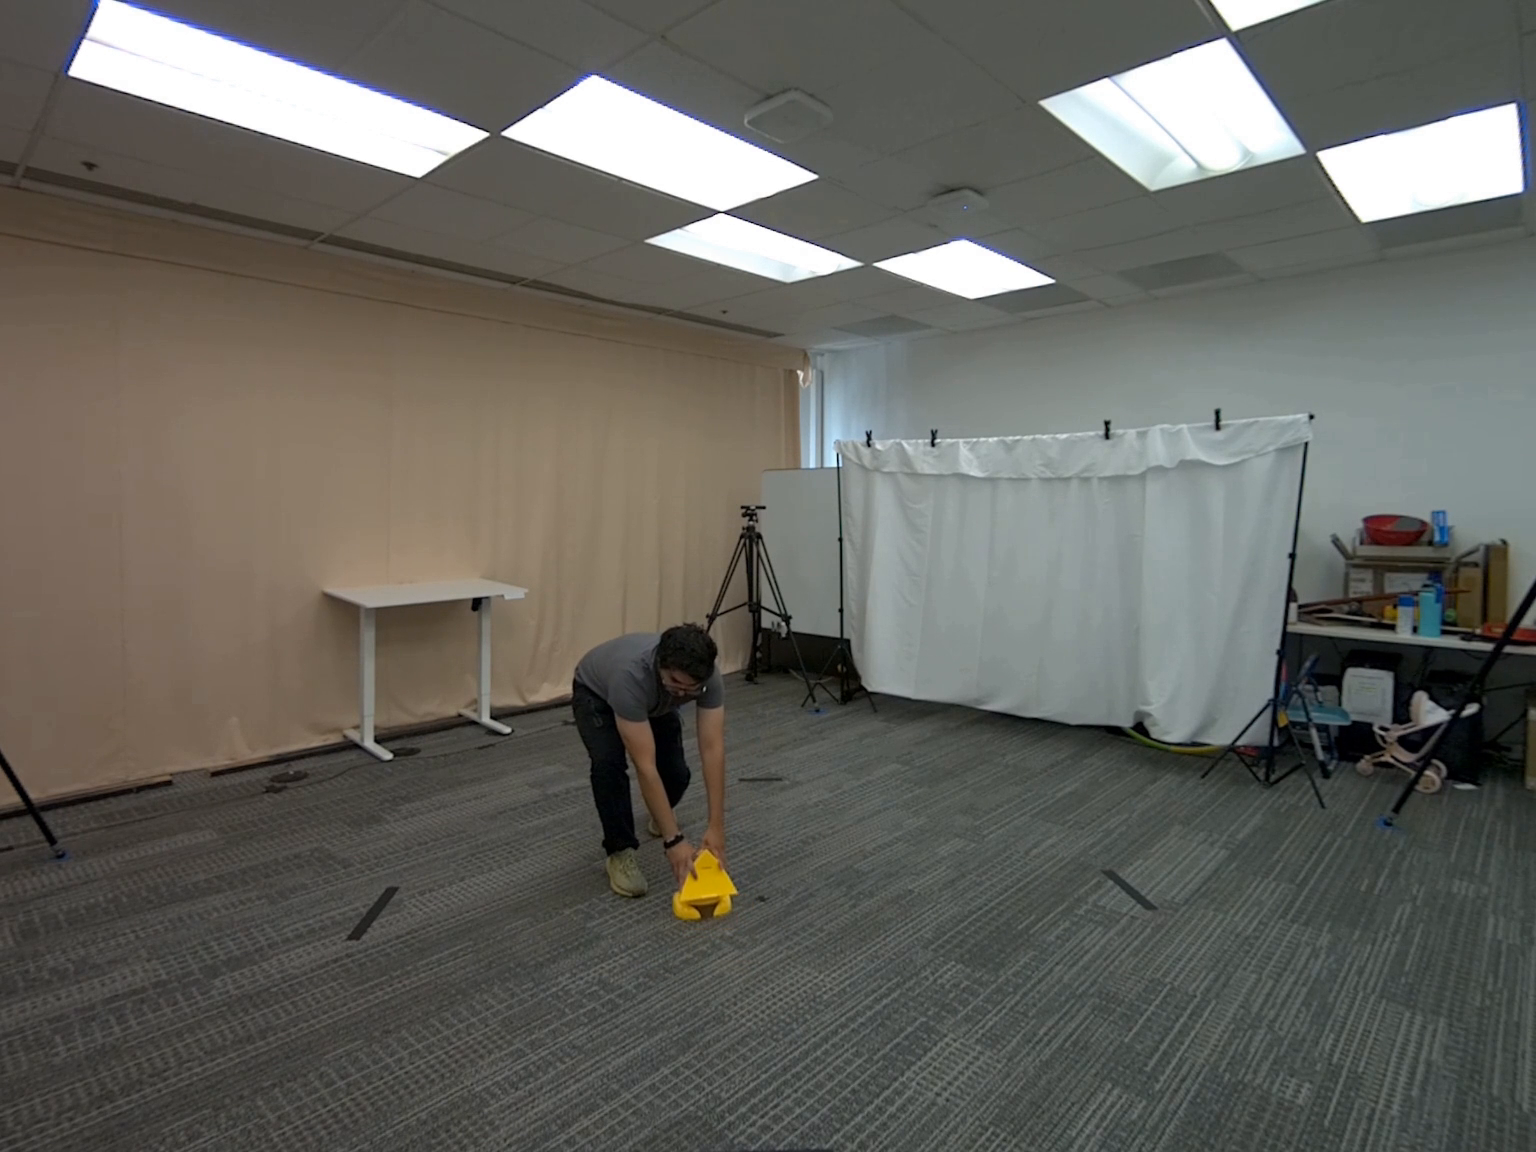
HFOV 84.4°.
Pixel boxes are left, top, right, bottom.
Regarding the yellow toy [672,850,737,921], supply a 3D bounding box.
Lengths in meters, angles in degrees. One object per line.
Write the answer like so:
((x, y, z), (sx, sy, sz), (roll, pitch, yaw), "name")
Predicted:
((-0.229, 1.040, 2.912), (0.201, 0.230, 0.197), (-1, 2, -18), "yellow toy")
